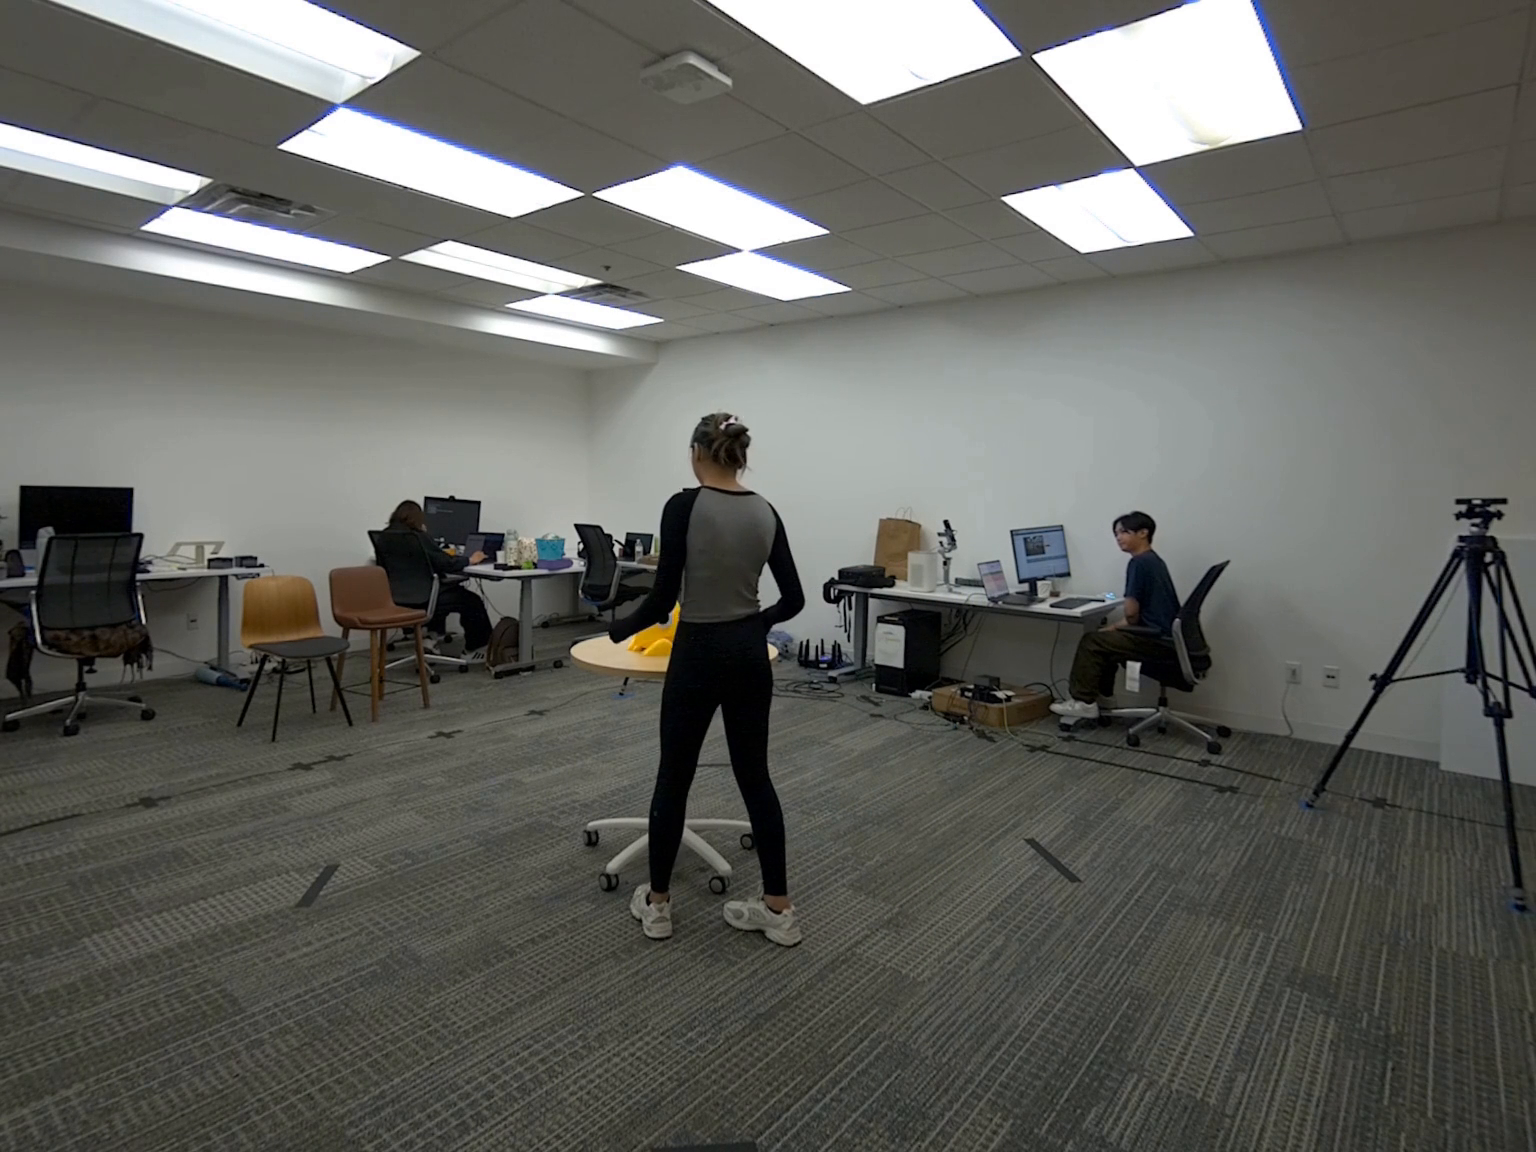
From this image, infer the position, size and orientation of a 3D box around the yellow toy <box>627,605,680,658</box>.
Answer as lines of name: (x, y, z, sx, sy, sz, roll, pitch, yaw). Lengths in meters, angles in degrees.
yellow toy: (-0.420, 0.160, 3.122, 0.187, 0.230, 0.211, -3, 5, -36)
